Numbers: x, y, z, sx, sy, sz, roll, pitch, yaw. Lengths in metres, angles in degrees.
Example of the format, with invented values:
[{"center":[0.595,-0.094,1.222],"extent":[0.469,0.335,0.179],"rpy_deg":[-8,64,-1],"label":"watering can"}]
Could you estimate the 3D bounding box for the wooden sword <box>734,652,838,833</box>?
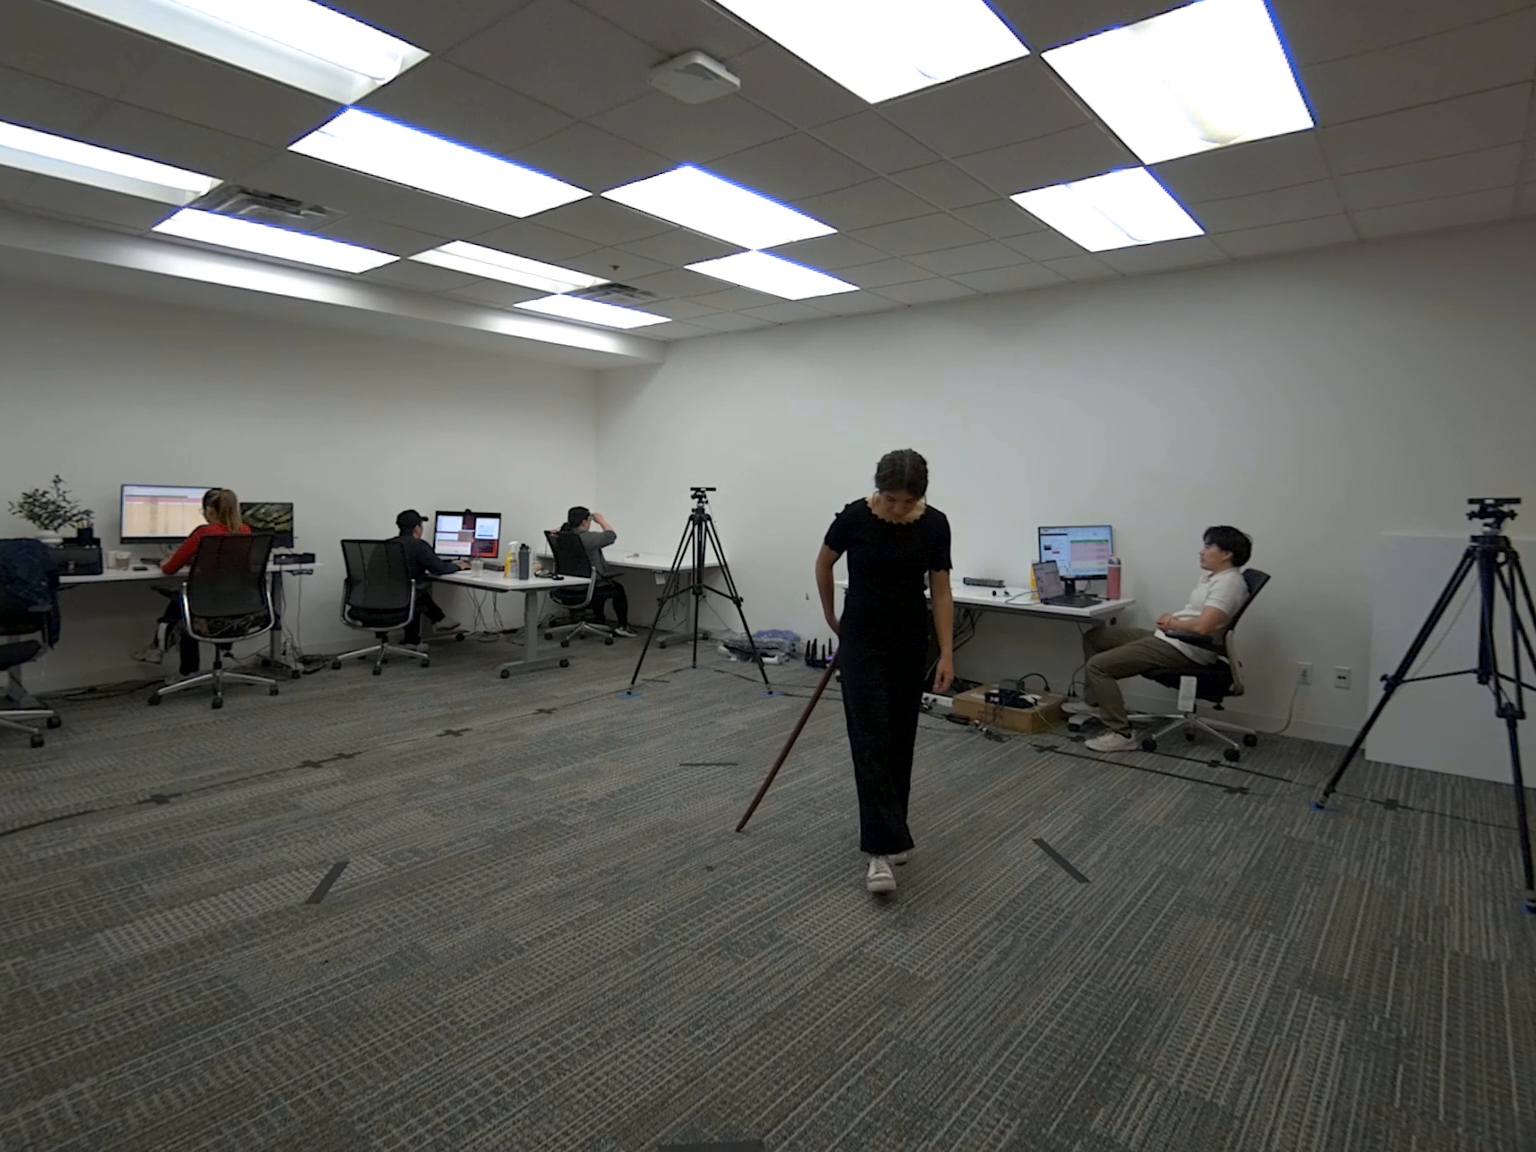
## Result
[{"center":[0.113,0.595,3.438],"extent":[0.049,1.024,0.025],"rpy_deg":[28,2,-41],"label":"wooden sword"}]
